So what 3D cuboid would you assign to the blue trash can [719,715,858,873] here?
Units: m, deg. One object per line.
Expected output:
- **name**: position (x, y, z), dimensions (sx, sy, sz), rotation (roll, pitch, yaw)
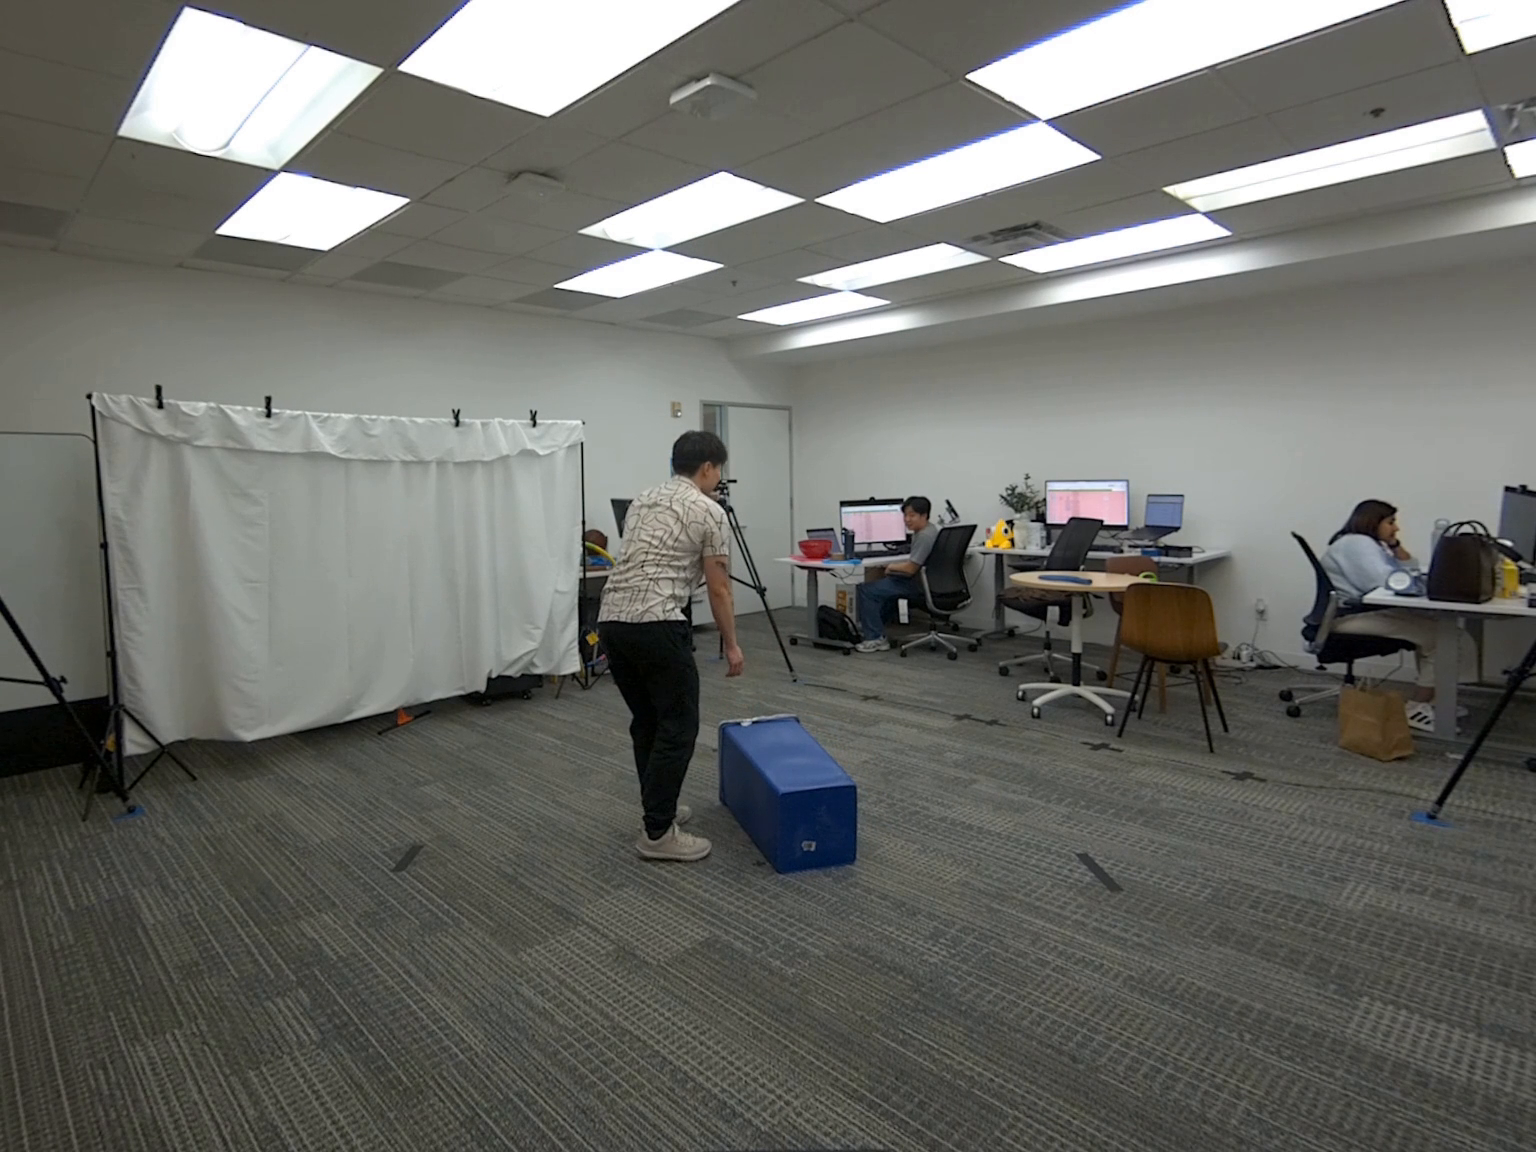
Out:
- **blue trash can**: position (0.062, 0.850, 3.379), dimensions (0.373, 0.371, 0.729), rotation (-3, 9, -16)
